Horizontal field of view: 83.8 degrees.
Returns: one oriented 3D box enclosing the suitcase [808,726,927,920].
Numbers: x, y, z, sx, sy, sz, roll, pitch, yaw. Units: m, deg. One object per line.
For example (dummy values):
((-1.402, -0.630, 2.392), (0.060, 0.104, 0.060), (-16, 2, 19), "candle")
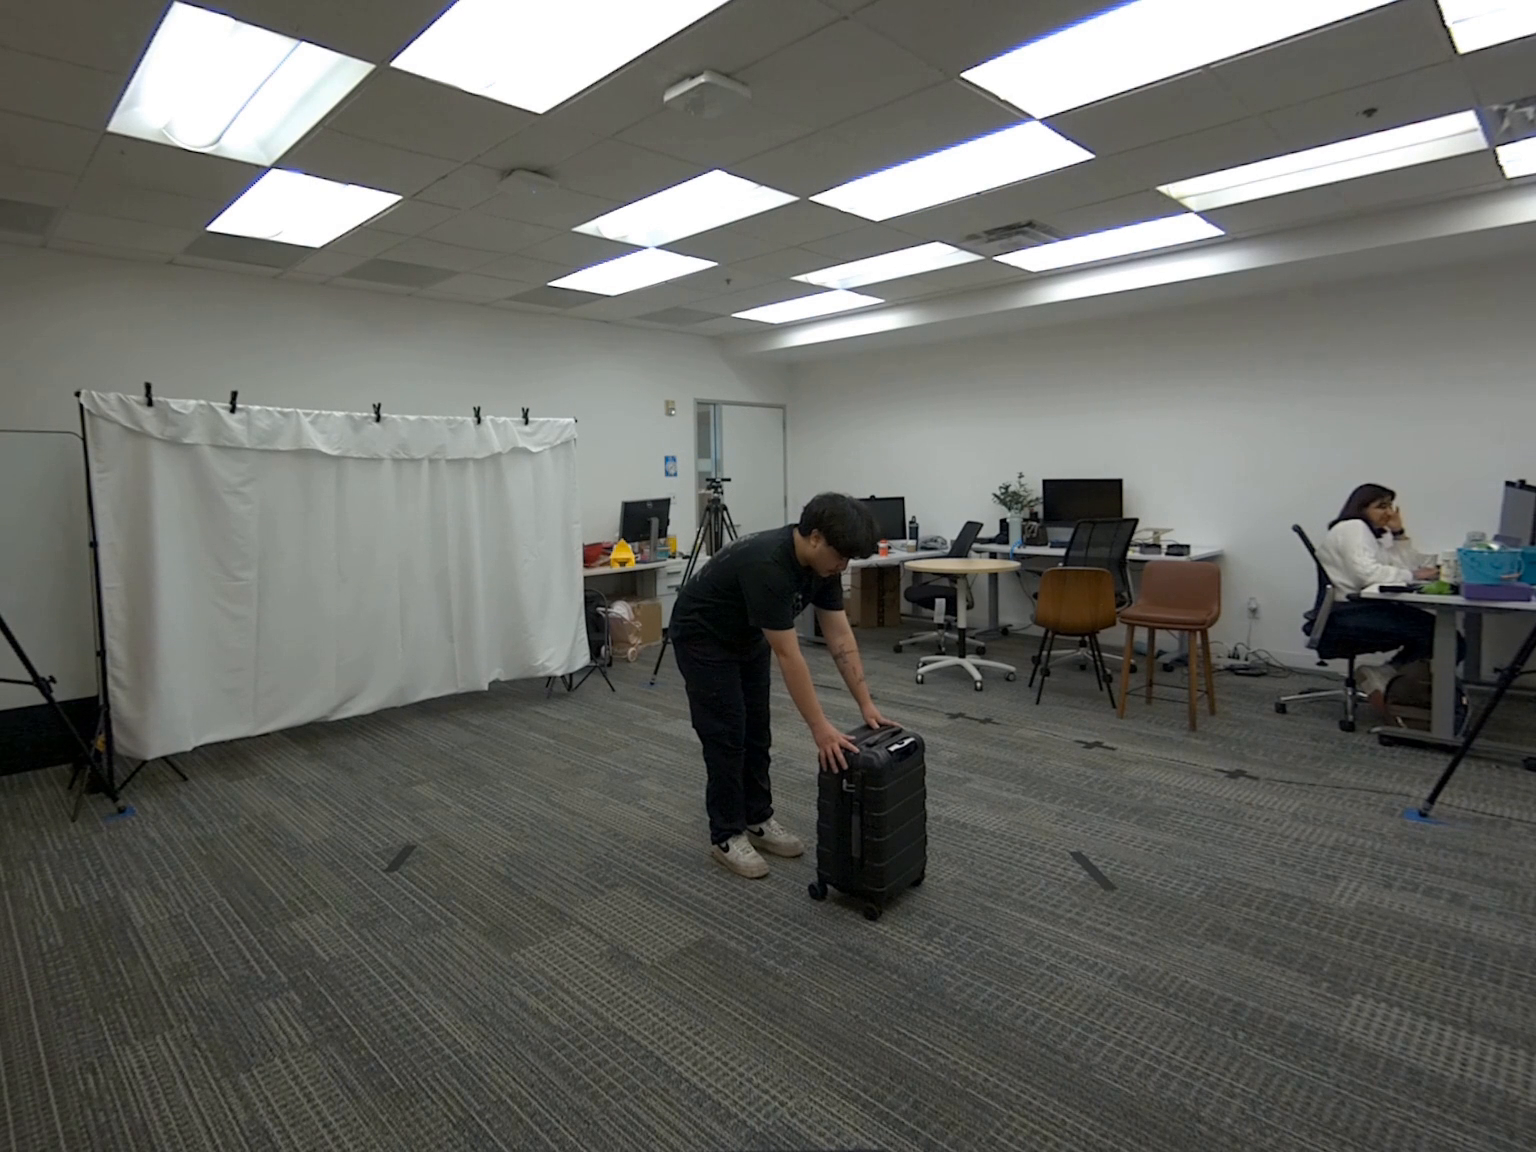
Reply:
((0.357, 0.794, 2.842), (0.256, 0.547, 0.366), (4, 6, 37), "suitcase")
